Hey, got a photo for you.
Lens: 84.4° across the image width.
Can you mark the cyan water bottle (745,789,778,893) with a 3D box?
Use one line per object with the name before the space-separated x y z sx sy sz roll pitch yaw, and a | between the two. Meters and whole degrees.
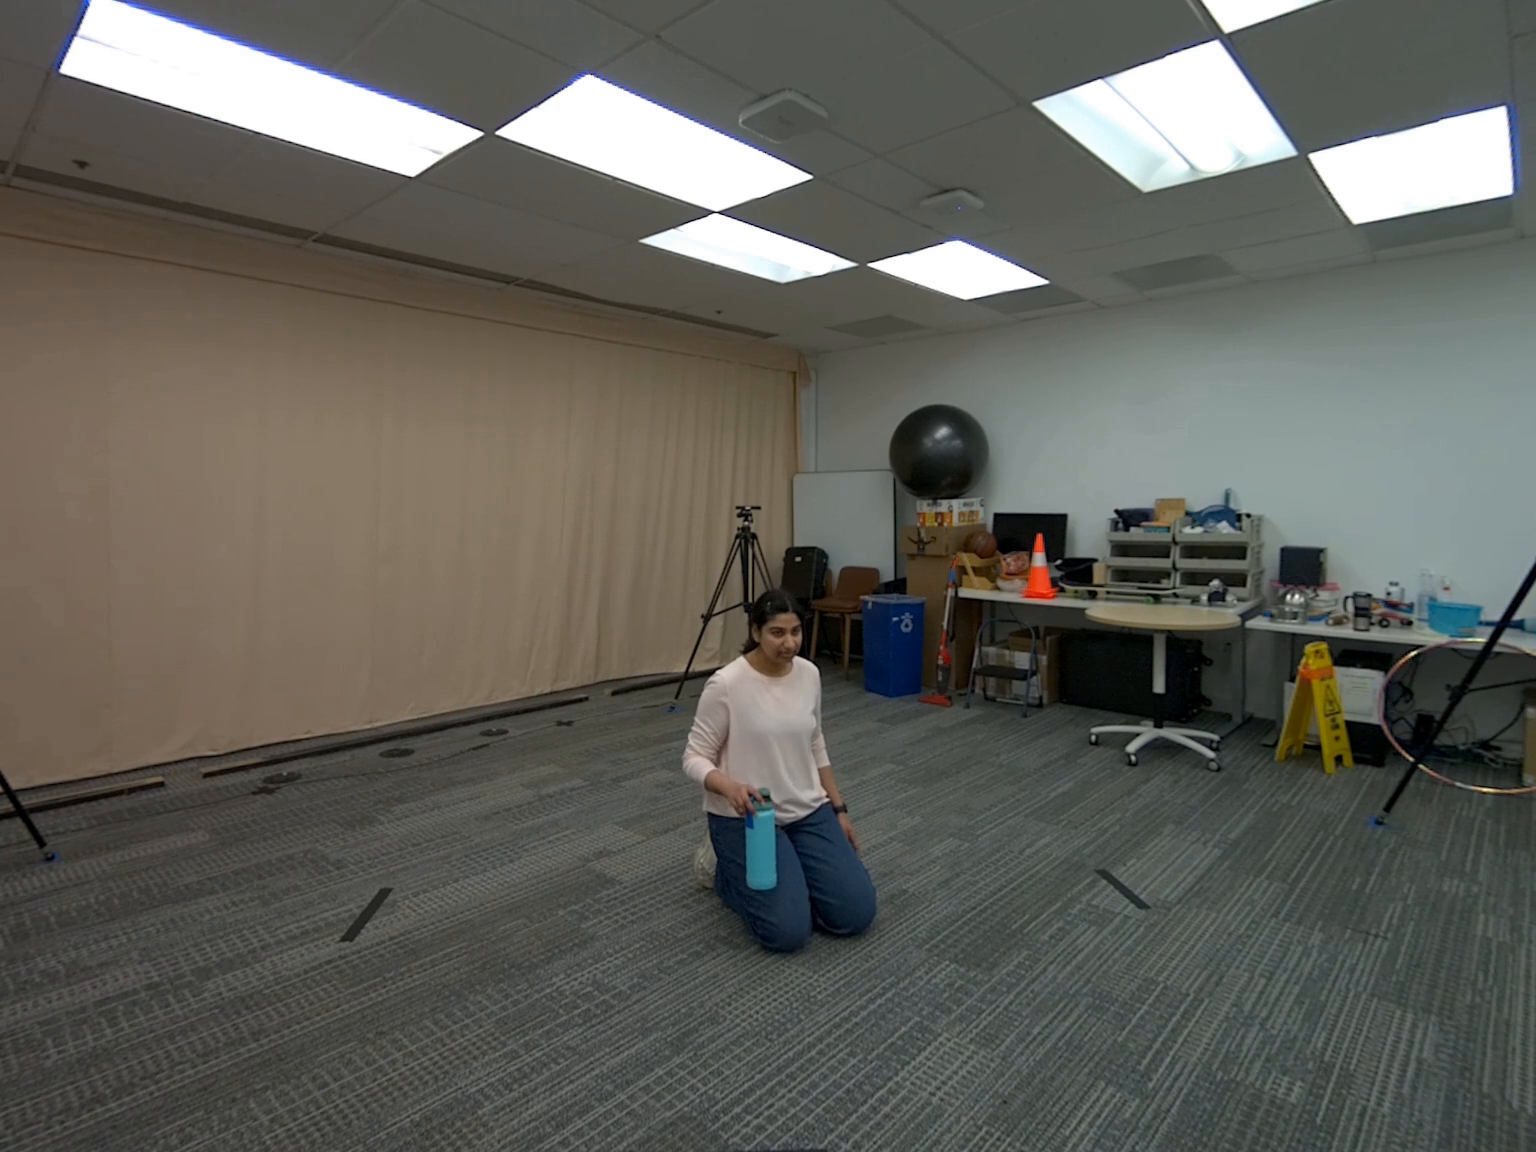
cyan water bottle | -0.021 0.773 2.539 0.092 0.283 0.092 -3 -1 -2
